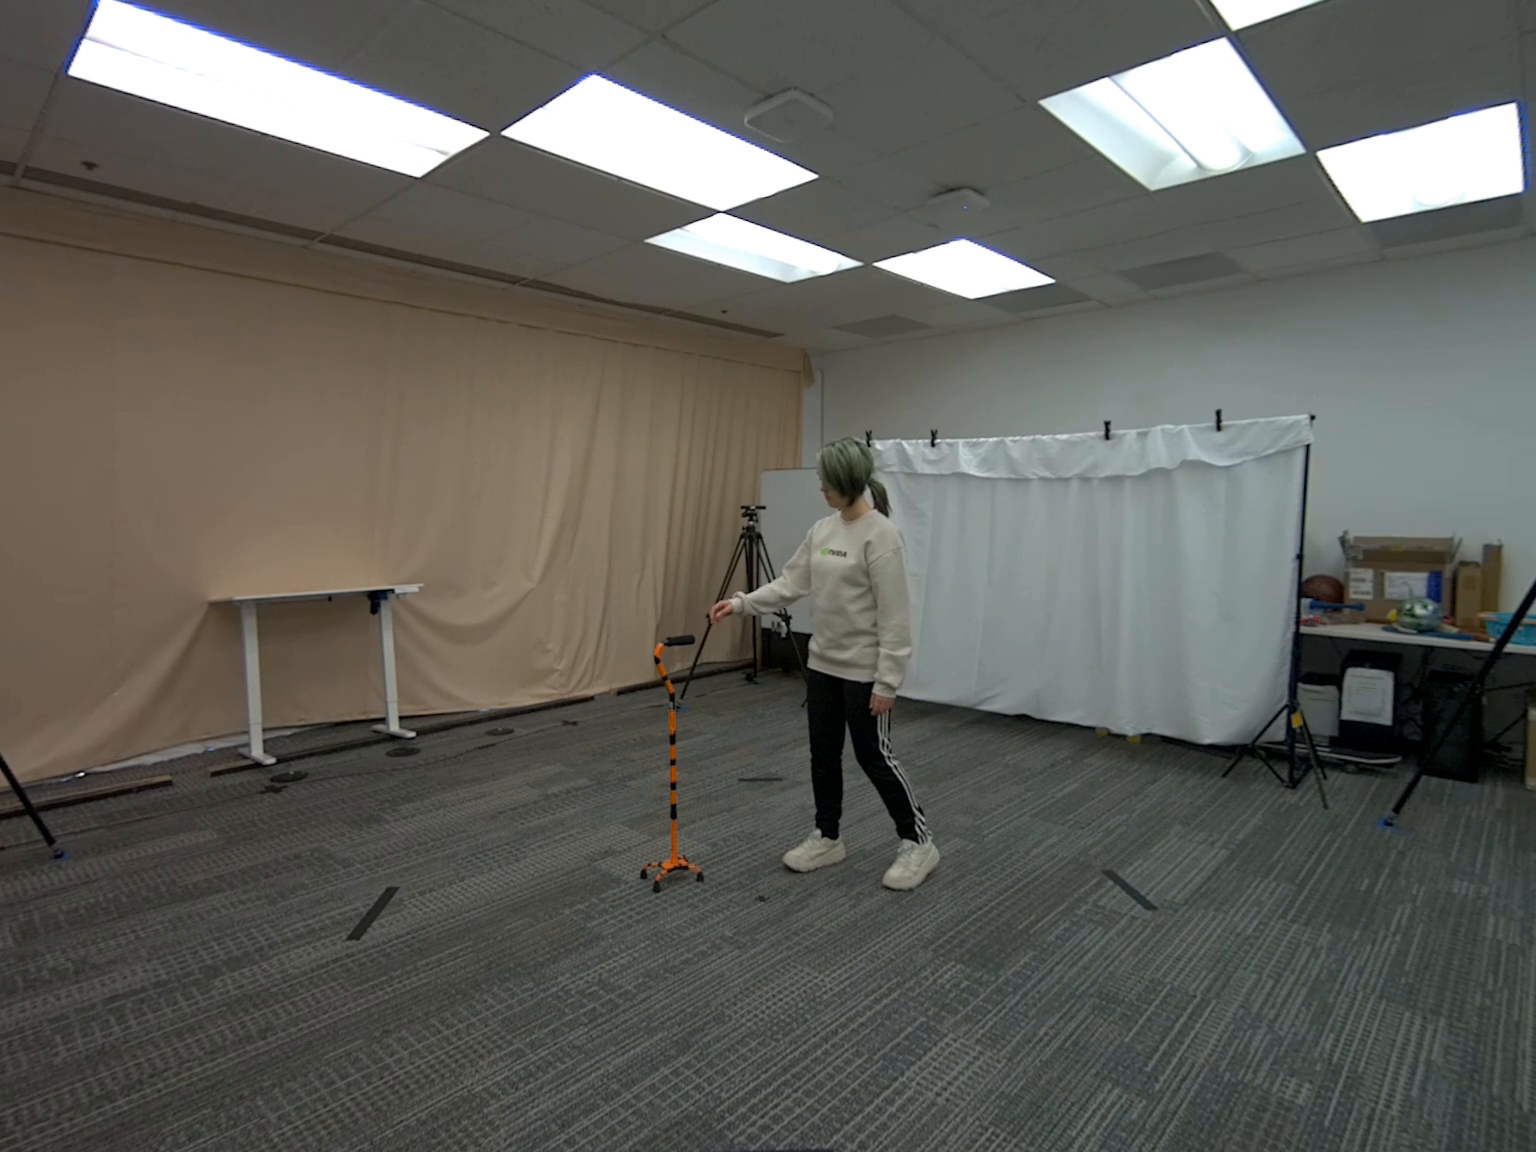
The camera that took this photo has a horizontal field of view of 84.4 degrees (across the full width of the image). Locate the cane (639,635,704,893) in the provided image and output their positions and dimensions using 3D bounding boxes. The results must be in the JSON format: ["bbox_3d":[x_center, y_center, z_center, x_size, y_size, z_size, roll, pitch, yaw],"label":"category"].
[{"bbox_3d":[-0.359,0.683,3.125,0.201,0.906,0.156,-2,3,-28],"label":"cane"}]
